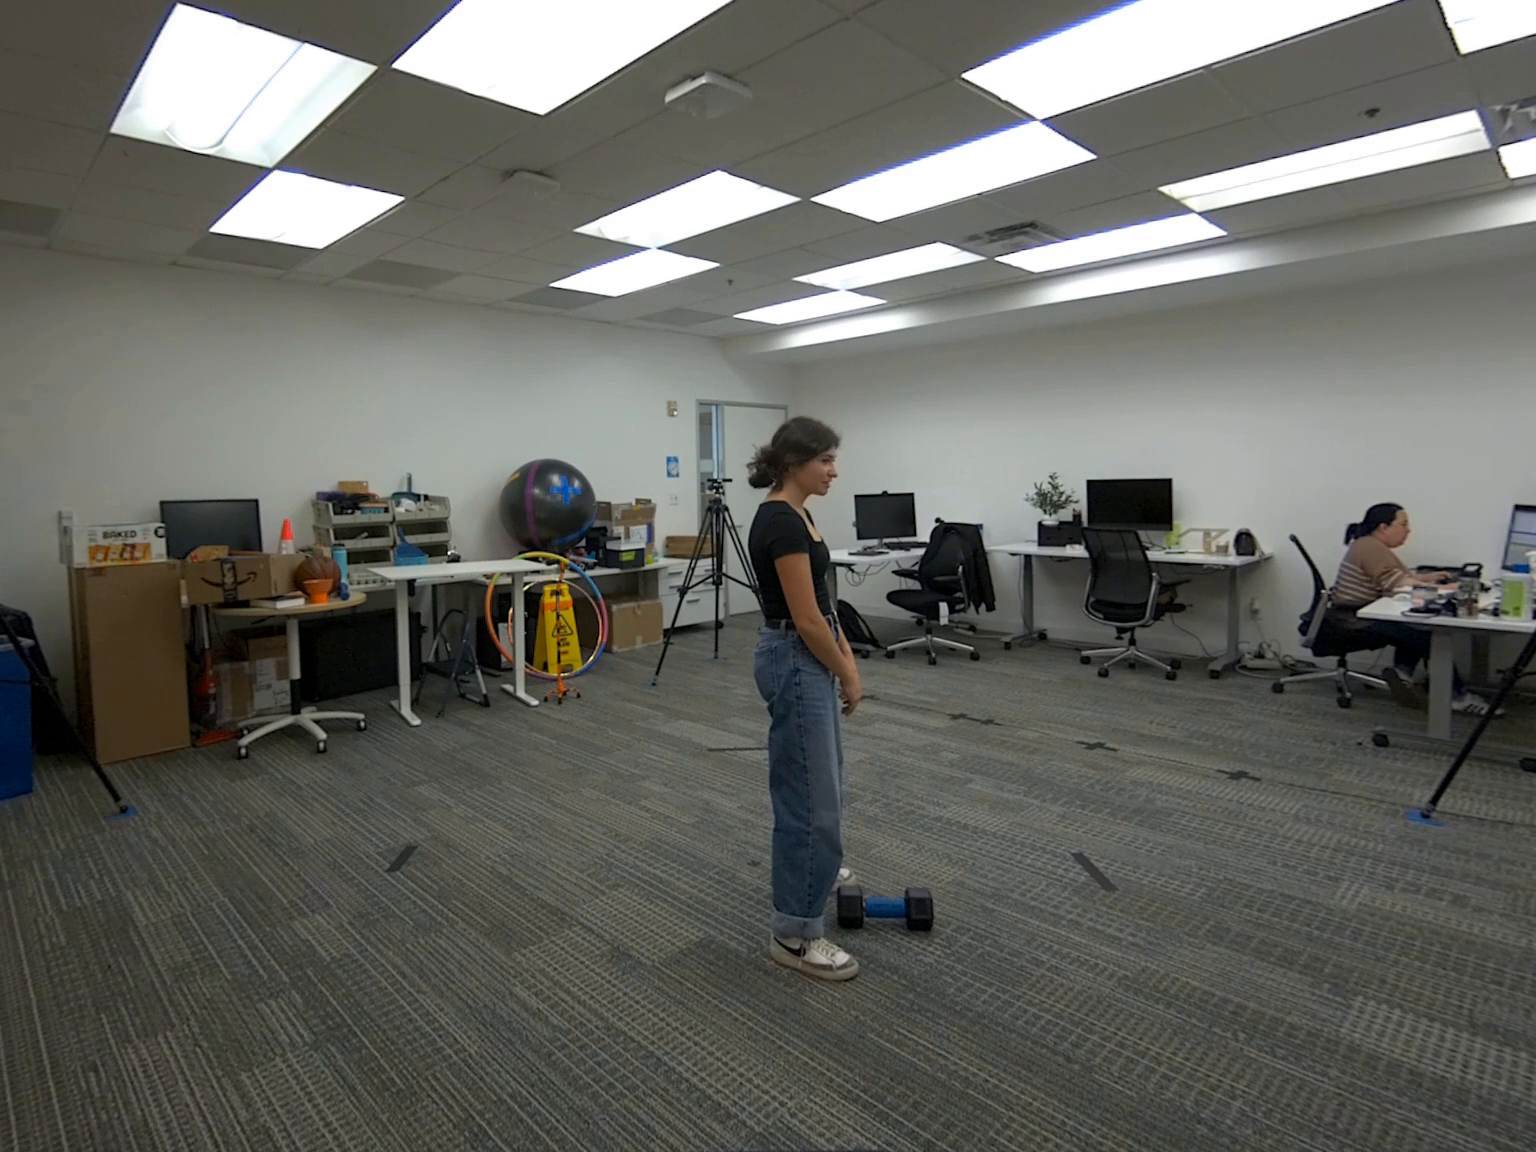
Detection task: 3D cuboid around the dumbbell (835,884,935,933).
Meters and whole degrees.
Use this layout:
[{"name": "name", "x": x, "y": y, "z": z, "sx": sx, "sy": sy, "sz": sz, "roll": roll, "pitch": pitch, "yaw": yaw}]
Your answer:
[{"name": "dumbbell", "x": 0.368, "y": 1.037, "z": 2.664, "sx": 0.295, "sy": 0.125, "sz": 0.106, "roll": -1, "pitch": -26, "yaw": 6}]
